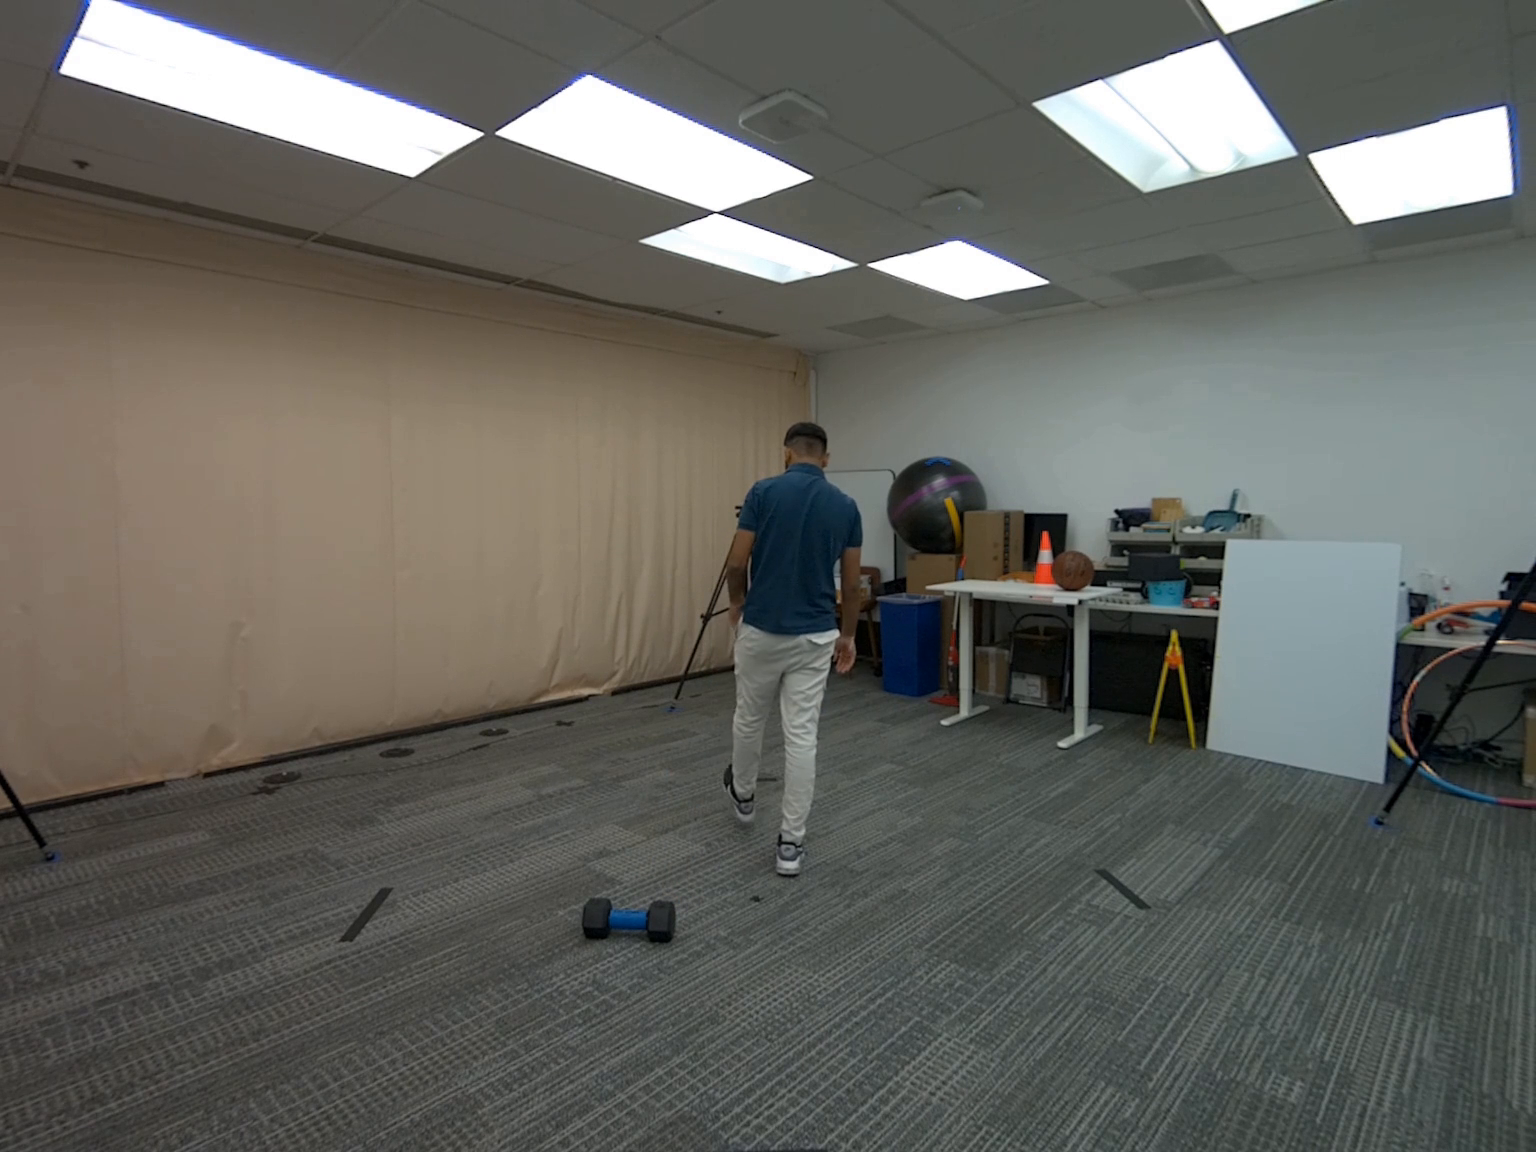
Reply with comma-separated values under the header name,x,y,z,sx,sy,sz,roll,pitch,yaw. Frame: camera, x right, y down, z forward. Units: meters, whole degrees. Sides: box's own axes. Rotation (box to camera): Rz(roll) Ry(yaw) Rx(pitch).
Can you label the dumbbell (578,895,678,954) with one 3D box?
name,x,y,z,sx,sy,sz,roll,pitch,yaw
dumbbell,-0.449,1.115,2.720,0.296,0.108,0.122,1,4,7
